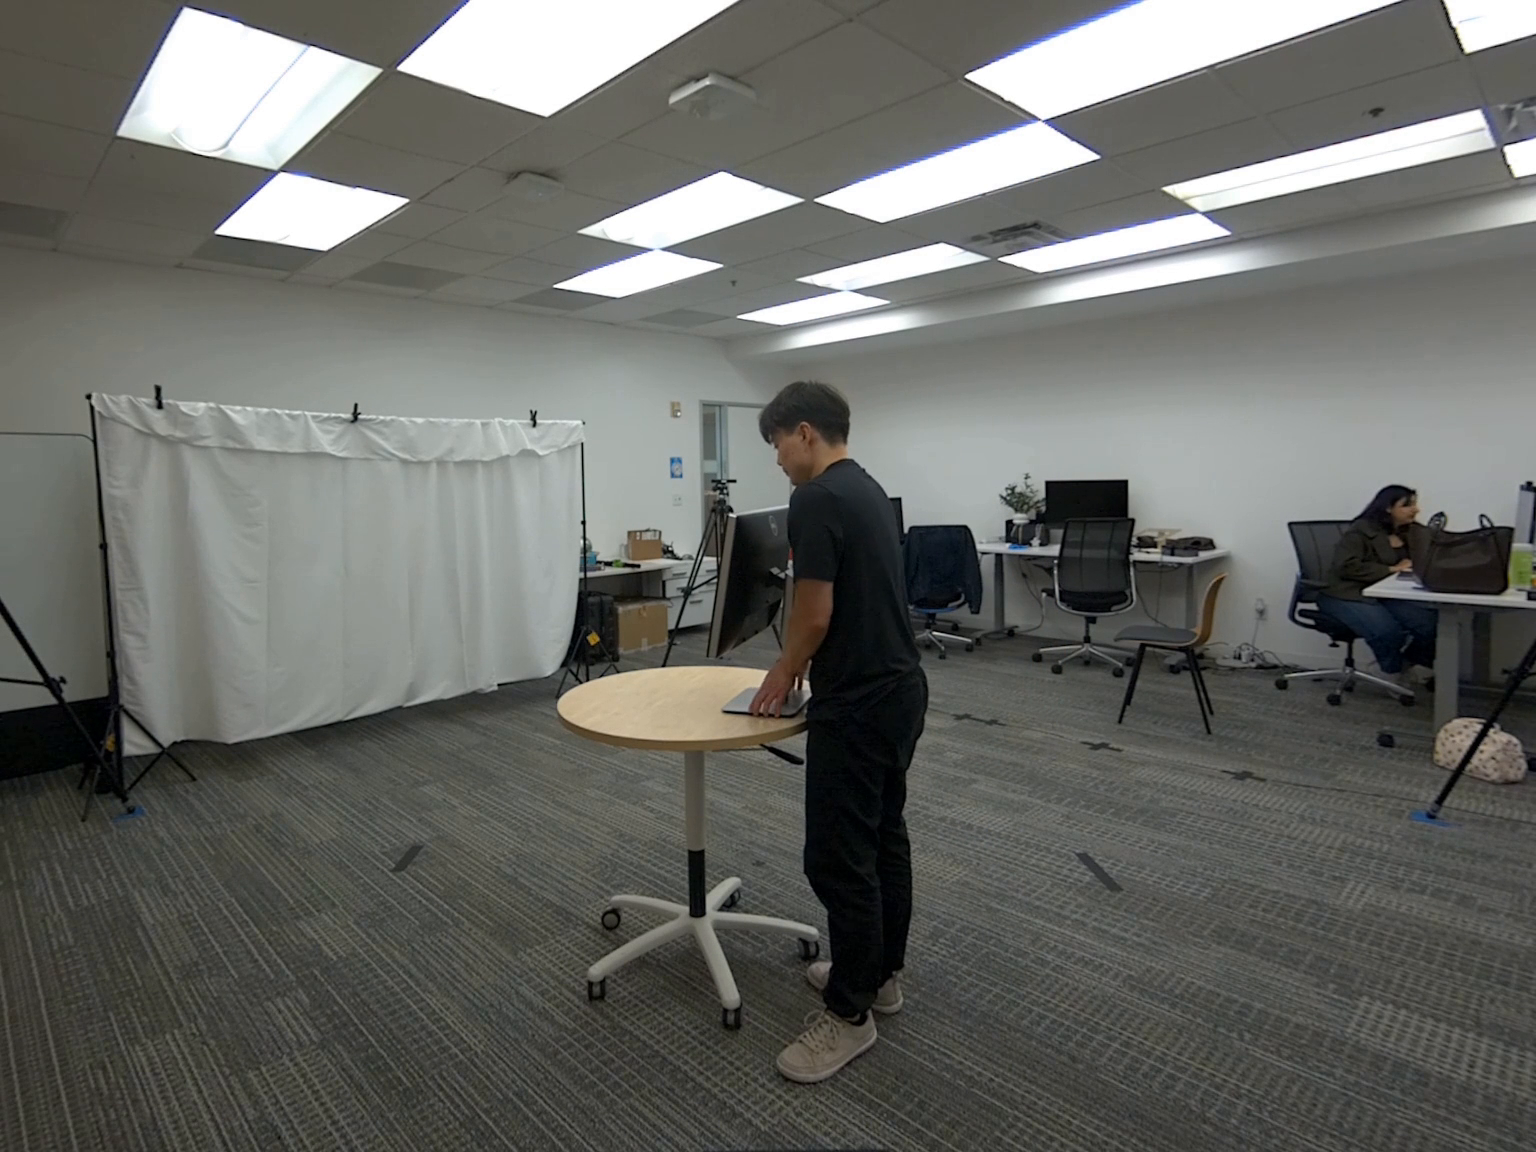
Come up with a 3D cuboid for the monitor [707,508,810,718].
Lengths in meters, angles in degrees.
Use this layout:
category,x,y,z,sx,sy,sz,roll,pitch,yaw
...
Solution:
category,x,y,z,sx,sy,sz,roll,pitch,yaw
monitor,0.000,0.084,2.344,0.190,0.520,0.533,-1,6,16
